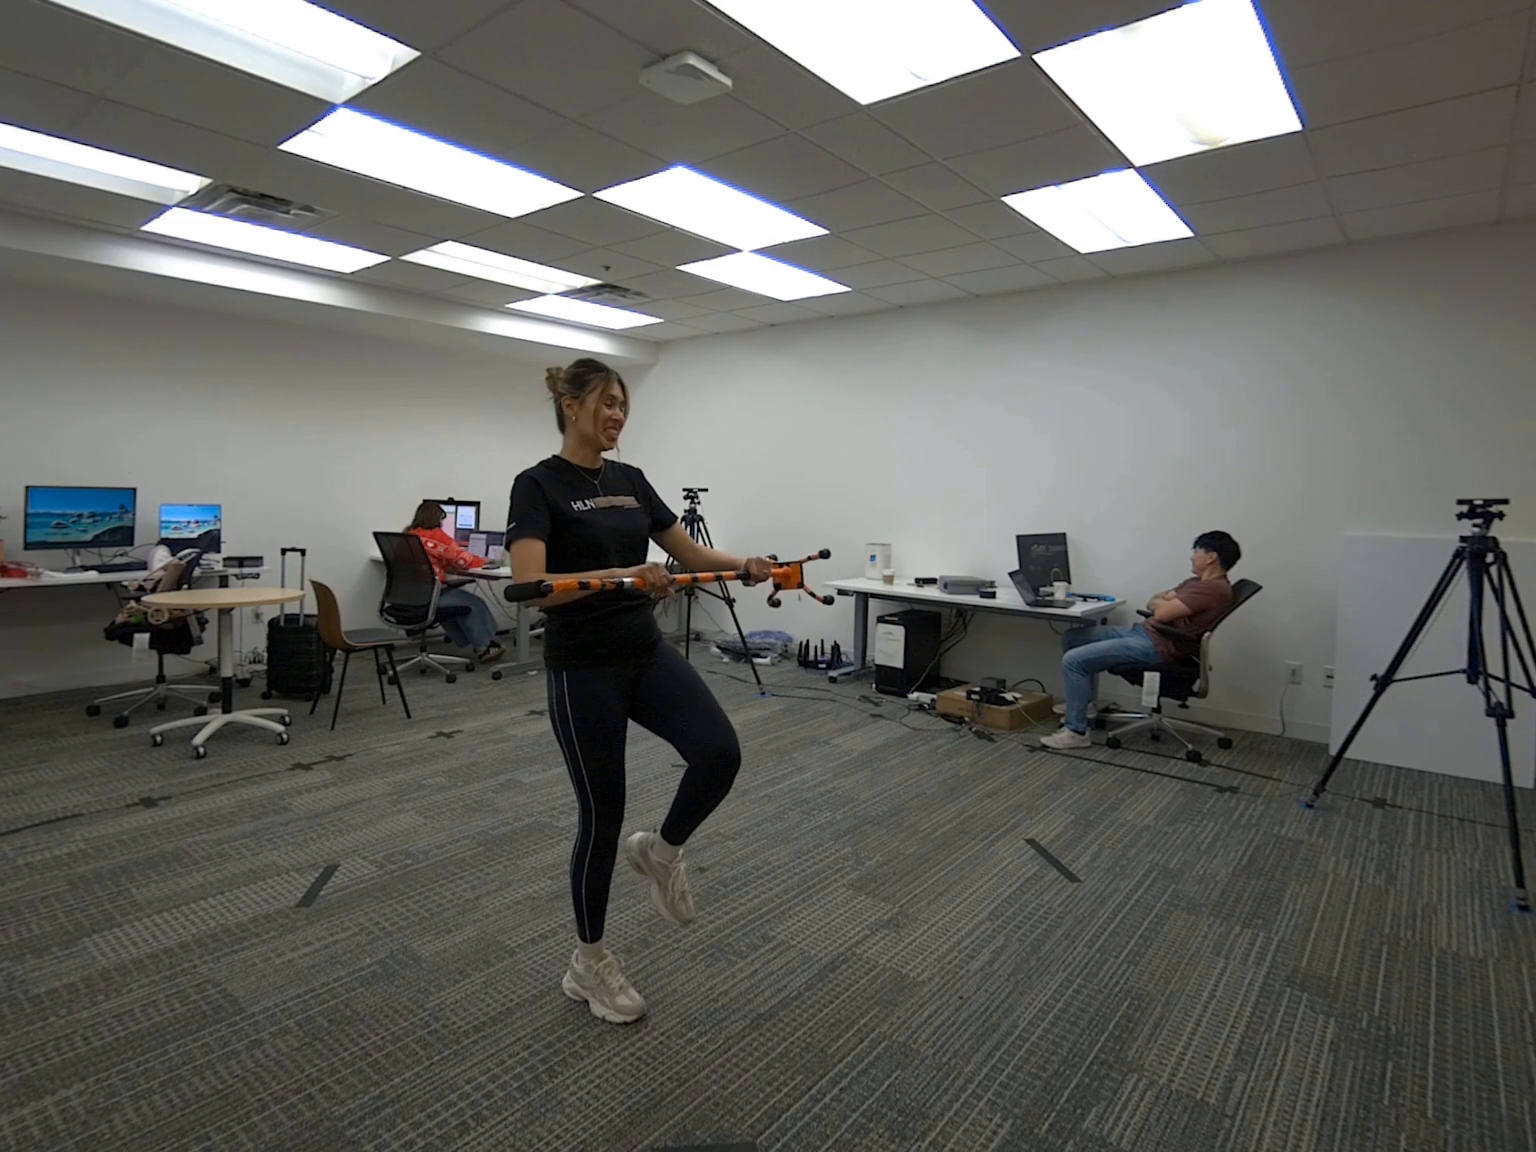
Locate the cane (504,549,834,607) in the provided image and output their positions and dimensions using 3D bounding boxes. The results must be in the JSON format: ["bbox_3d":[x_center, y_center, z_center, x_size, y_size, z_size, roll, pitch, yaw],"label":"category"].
[{"bbox_3d":[-0.181,0.021,1.971,0.212,0.152,0.880,-5,-1,38],"label":"cane"}]
